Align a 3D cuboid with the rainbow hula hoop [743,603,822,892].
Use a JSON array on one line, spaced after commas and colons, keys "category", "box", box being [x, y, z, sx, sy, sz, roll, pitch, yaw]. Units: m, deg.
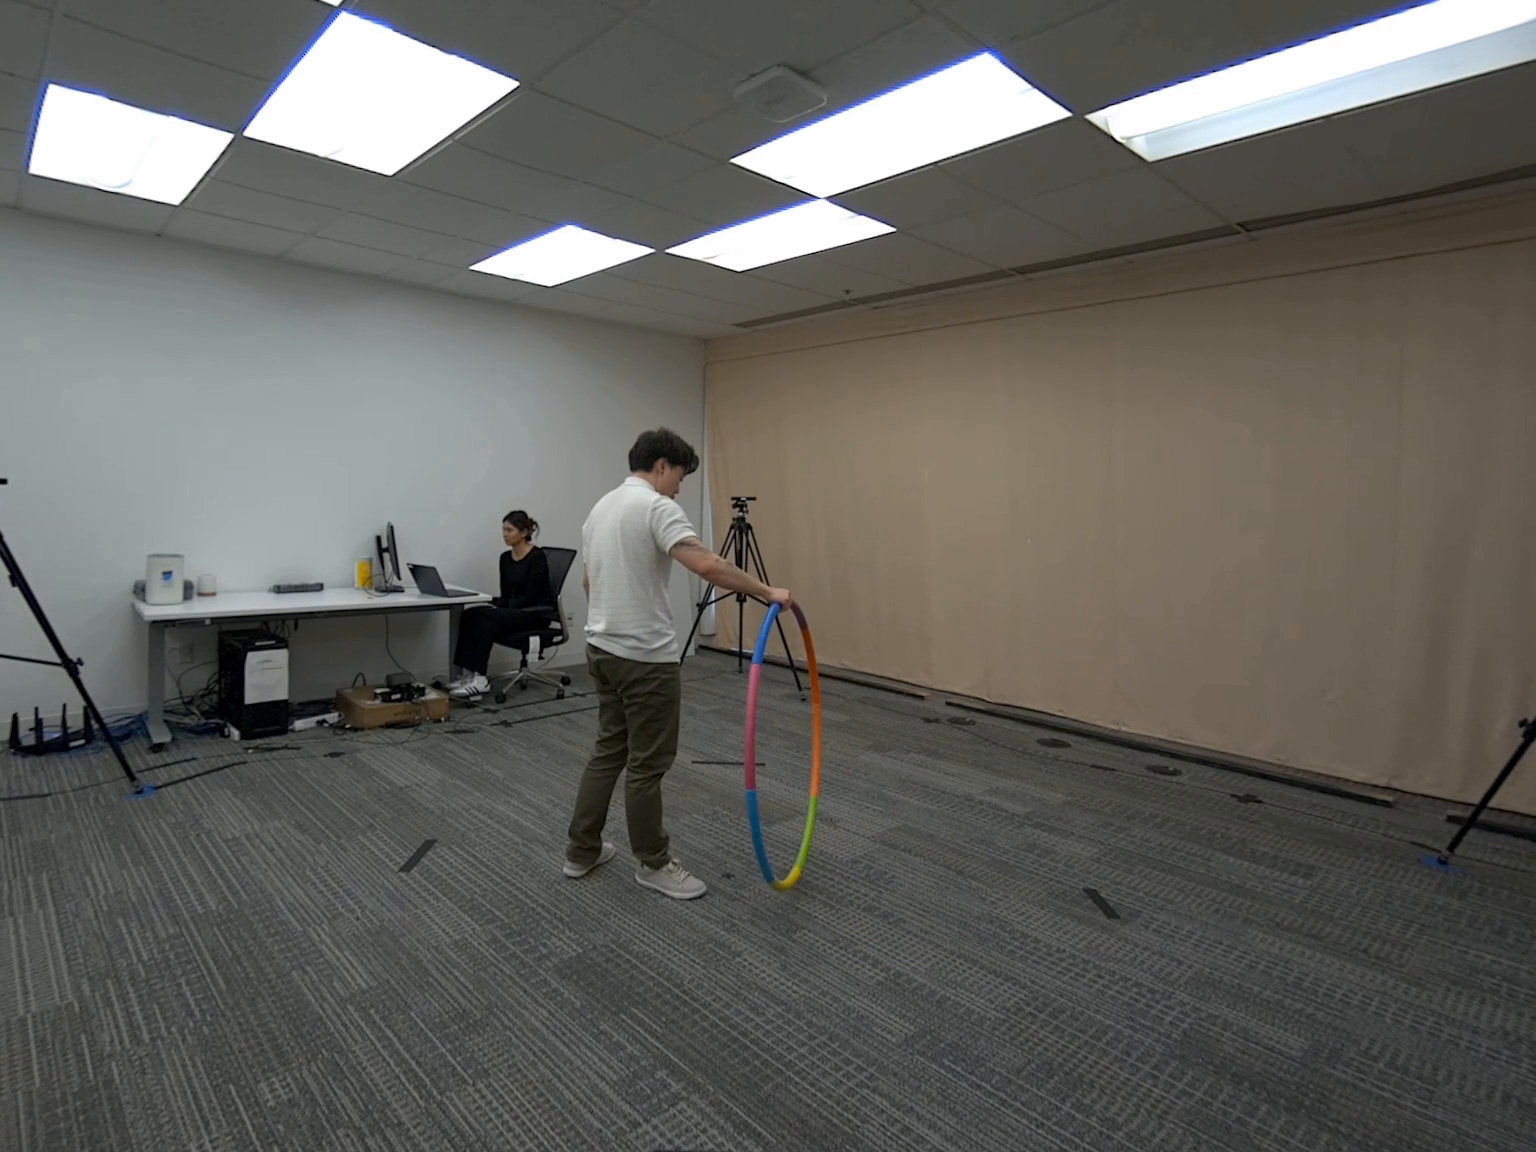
[{"category": "rainbow hula hoop", "box": [0.065, 0.569, 2.945, 0.036, 0.977, 0.968, -2, 3, 15]}]
